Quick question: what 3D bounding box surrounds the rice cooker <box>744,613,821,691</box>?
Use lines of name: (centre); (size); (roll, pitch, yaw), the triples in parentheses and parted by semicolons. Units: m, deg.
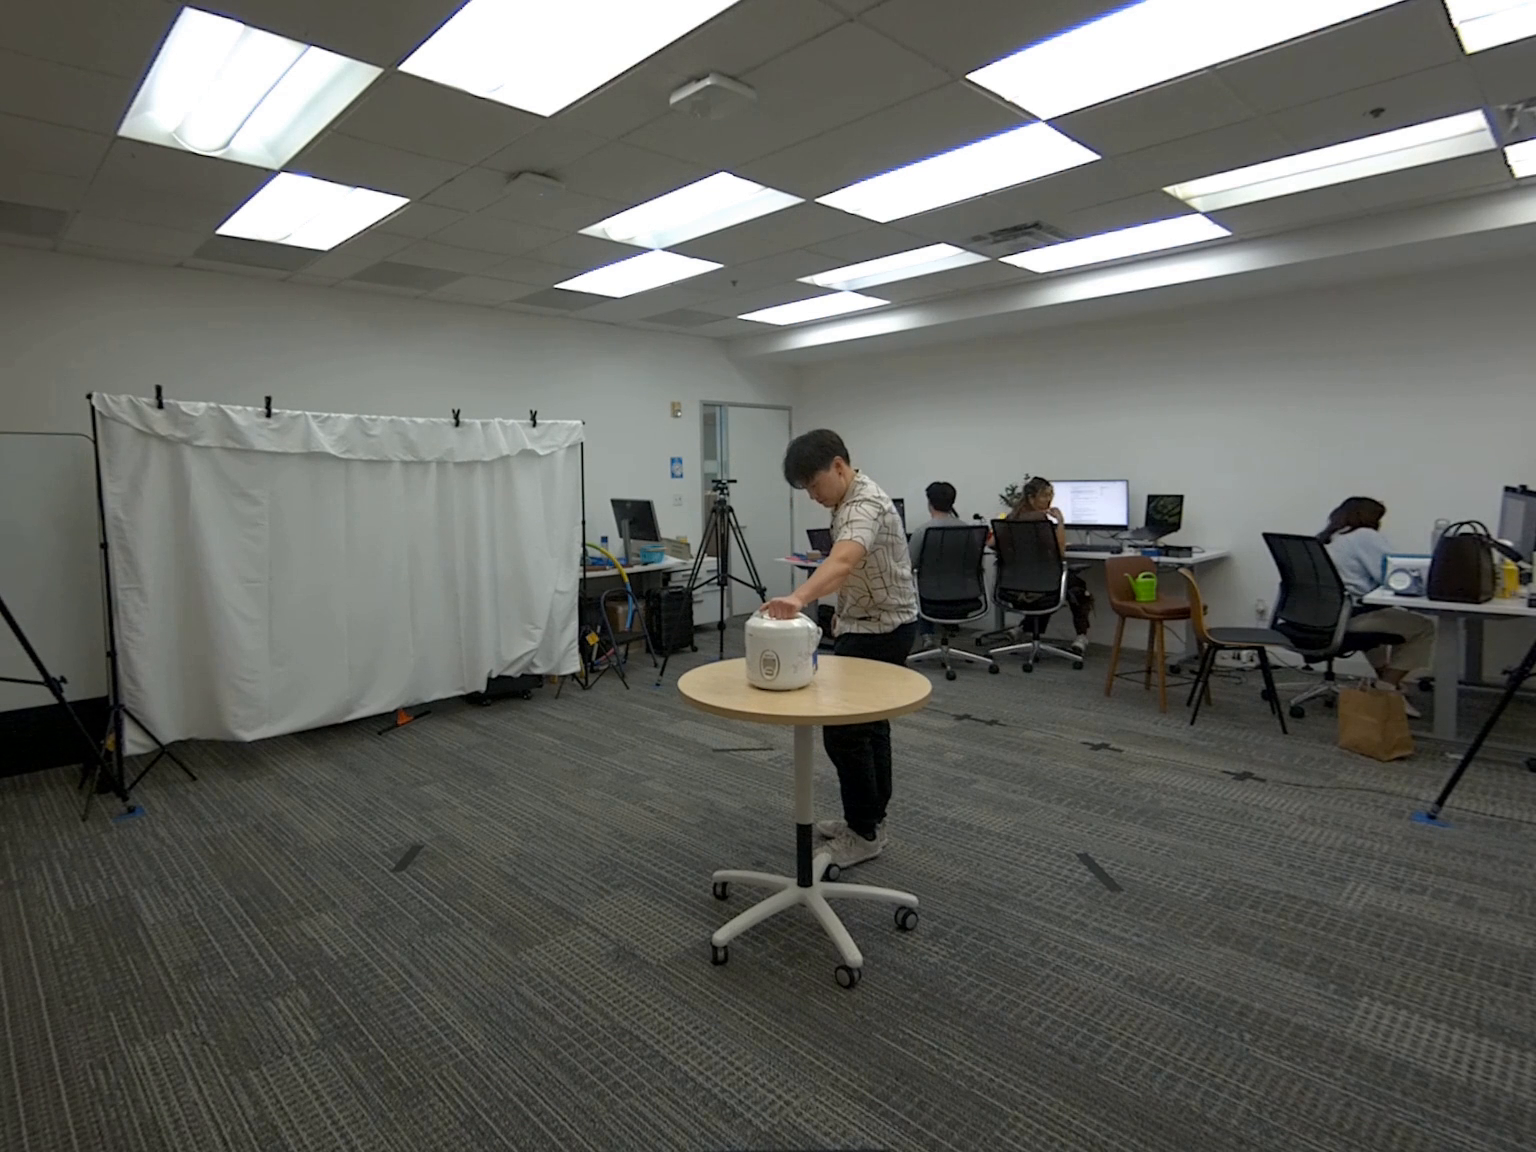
rice cooker: (0.039, 0.212, 2.556); (0.225, 0.232, 0.214); (0, 4, 19)
